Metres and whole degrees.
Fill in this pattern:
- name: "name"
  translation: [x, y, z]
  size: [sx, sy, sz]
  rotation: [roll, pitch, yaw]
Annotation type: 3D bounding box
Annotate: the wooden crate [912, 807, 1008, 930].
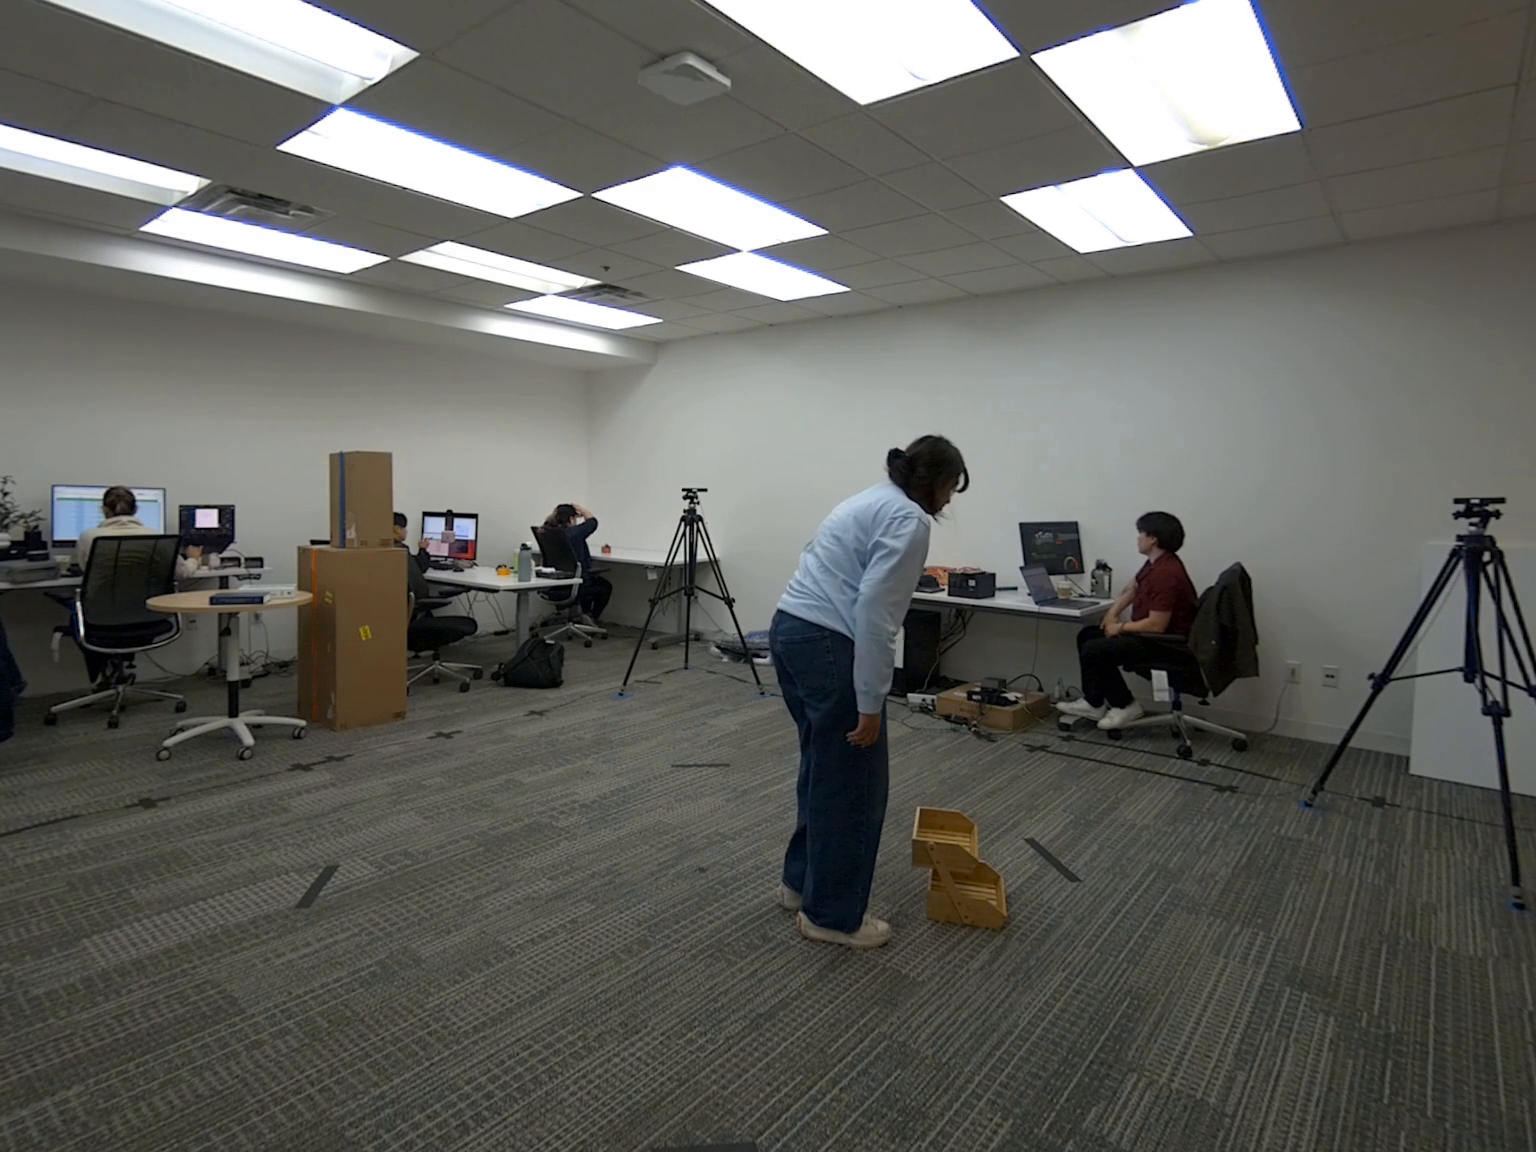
- name: "wooden crate"
  translation: [0.657, 0.979, 2.909]
  size: [0.306, 0.272, 0.321]
  rotation: [1, 5, 12]
